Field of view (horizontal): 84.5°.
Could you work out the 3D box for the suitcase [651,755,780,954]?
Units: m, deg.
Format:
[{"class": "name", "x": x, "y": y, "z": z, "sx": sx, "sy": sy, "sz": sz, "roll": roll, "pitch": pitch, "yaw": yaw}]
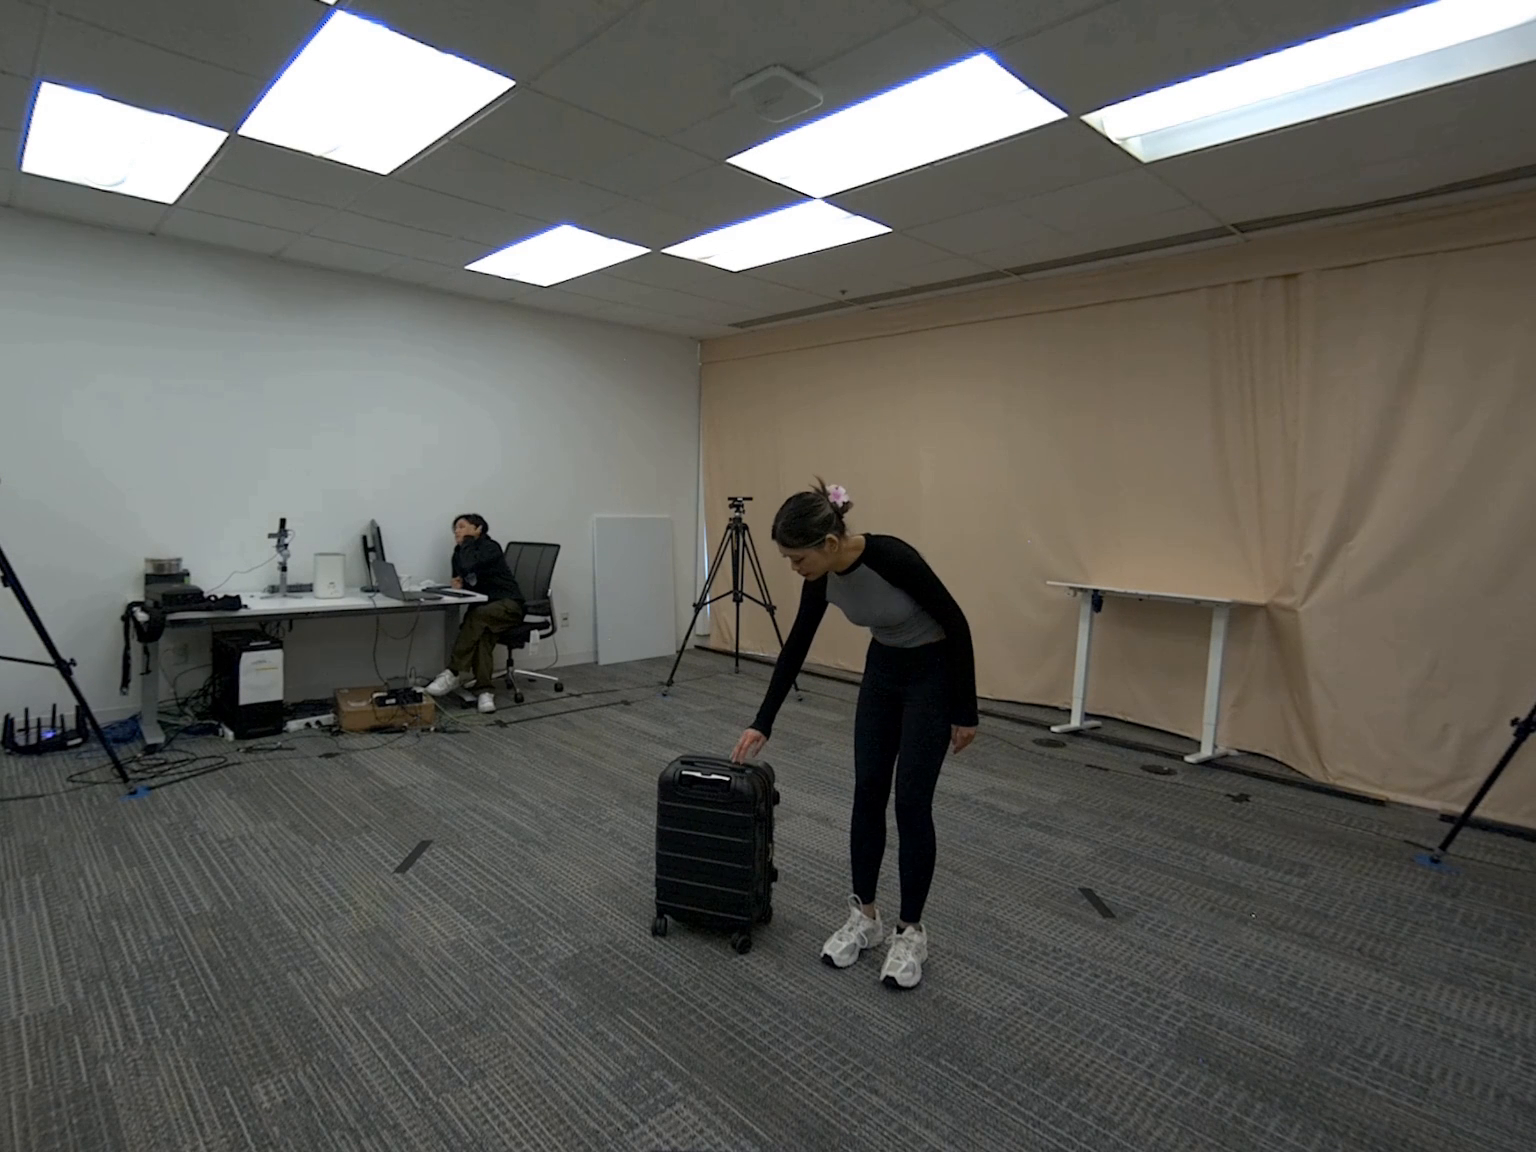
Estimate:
[{"class": "suitcase", "x": -0.177, "y": 0.866, "z": 2.734, "sx": 0.382, "sy": 0.548, "sz": 0.244, "roll": 2, "pitch": 2, "yaw": 21}]
